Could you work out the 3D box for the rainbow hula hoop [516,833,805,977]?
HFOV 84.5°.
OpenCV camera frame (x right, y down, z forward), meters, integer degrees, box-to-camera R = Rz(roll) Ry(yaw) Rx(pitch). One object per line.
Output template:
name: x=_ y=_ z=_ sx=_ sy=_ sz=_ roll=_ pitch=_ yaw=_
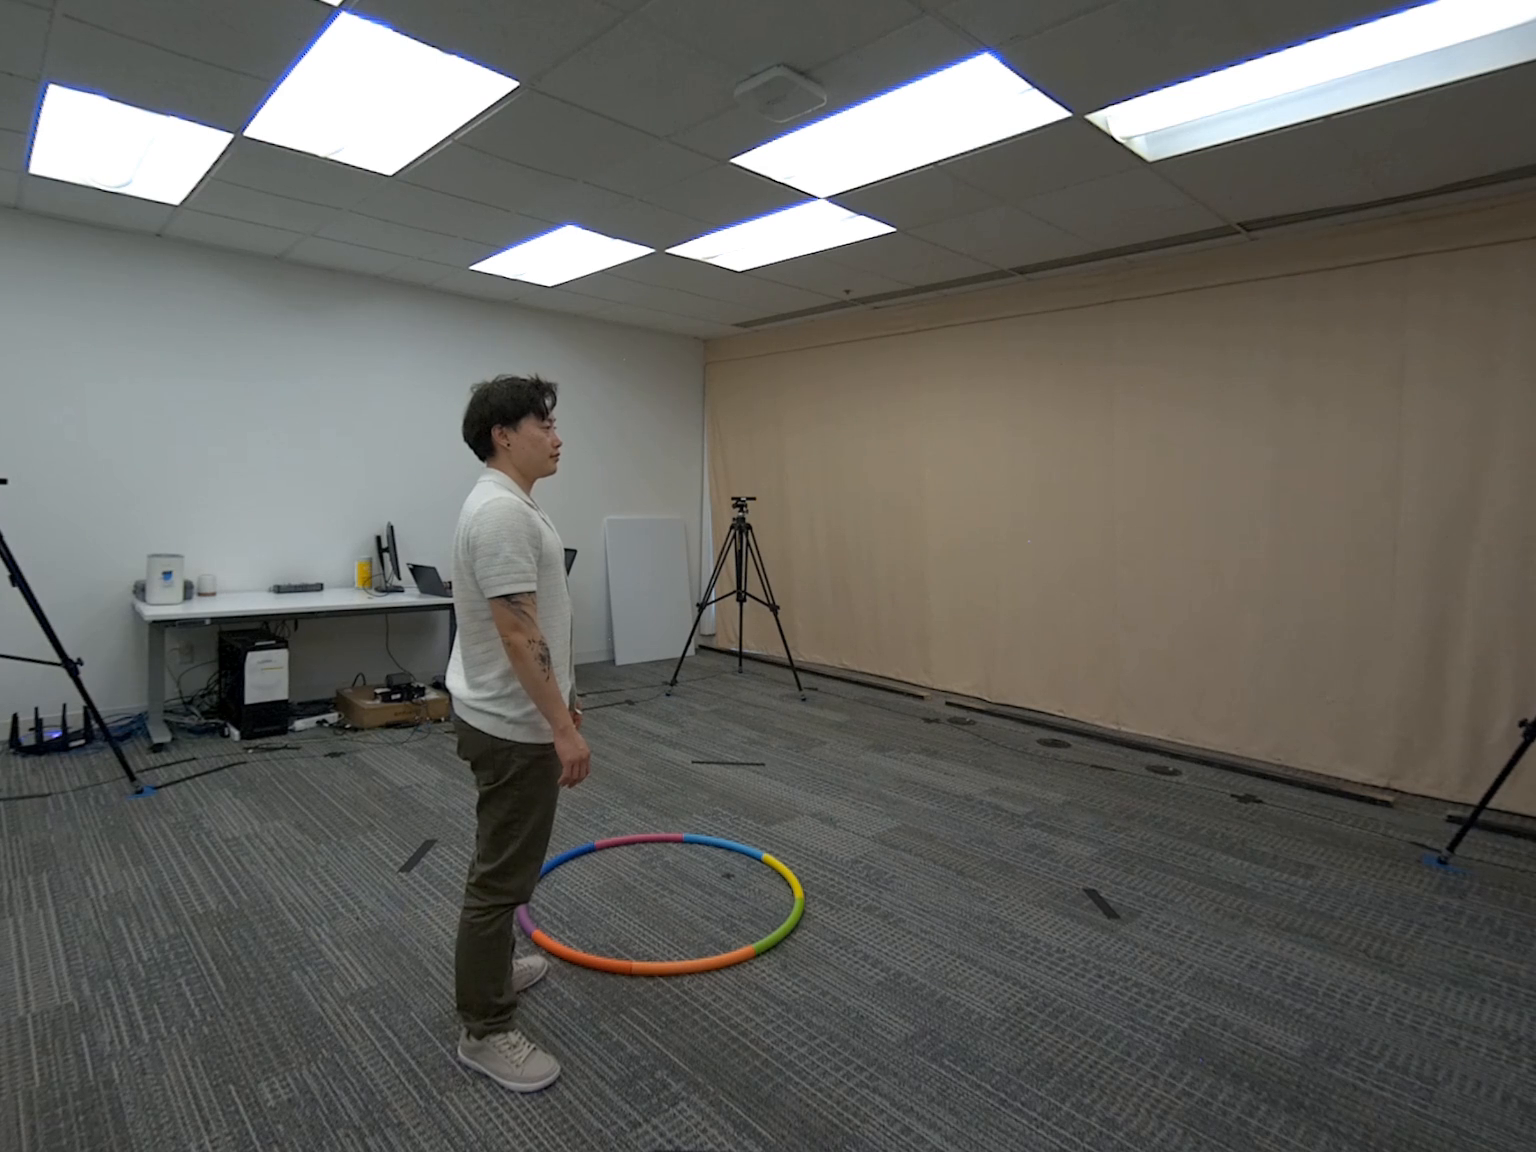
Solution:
rainbow hula hoop: x=-0.371 y=1.089 z=2.927 sx=0.978 sy=0.035 sz=0.982 roll=1 pitch=5 yaw=-1
